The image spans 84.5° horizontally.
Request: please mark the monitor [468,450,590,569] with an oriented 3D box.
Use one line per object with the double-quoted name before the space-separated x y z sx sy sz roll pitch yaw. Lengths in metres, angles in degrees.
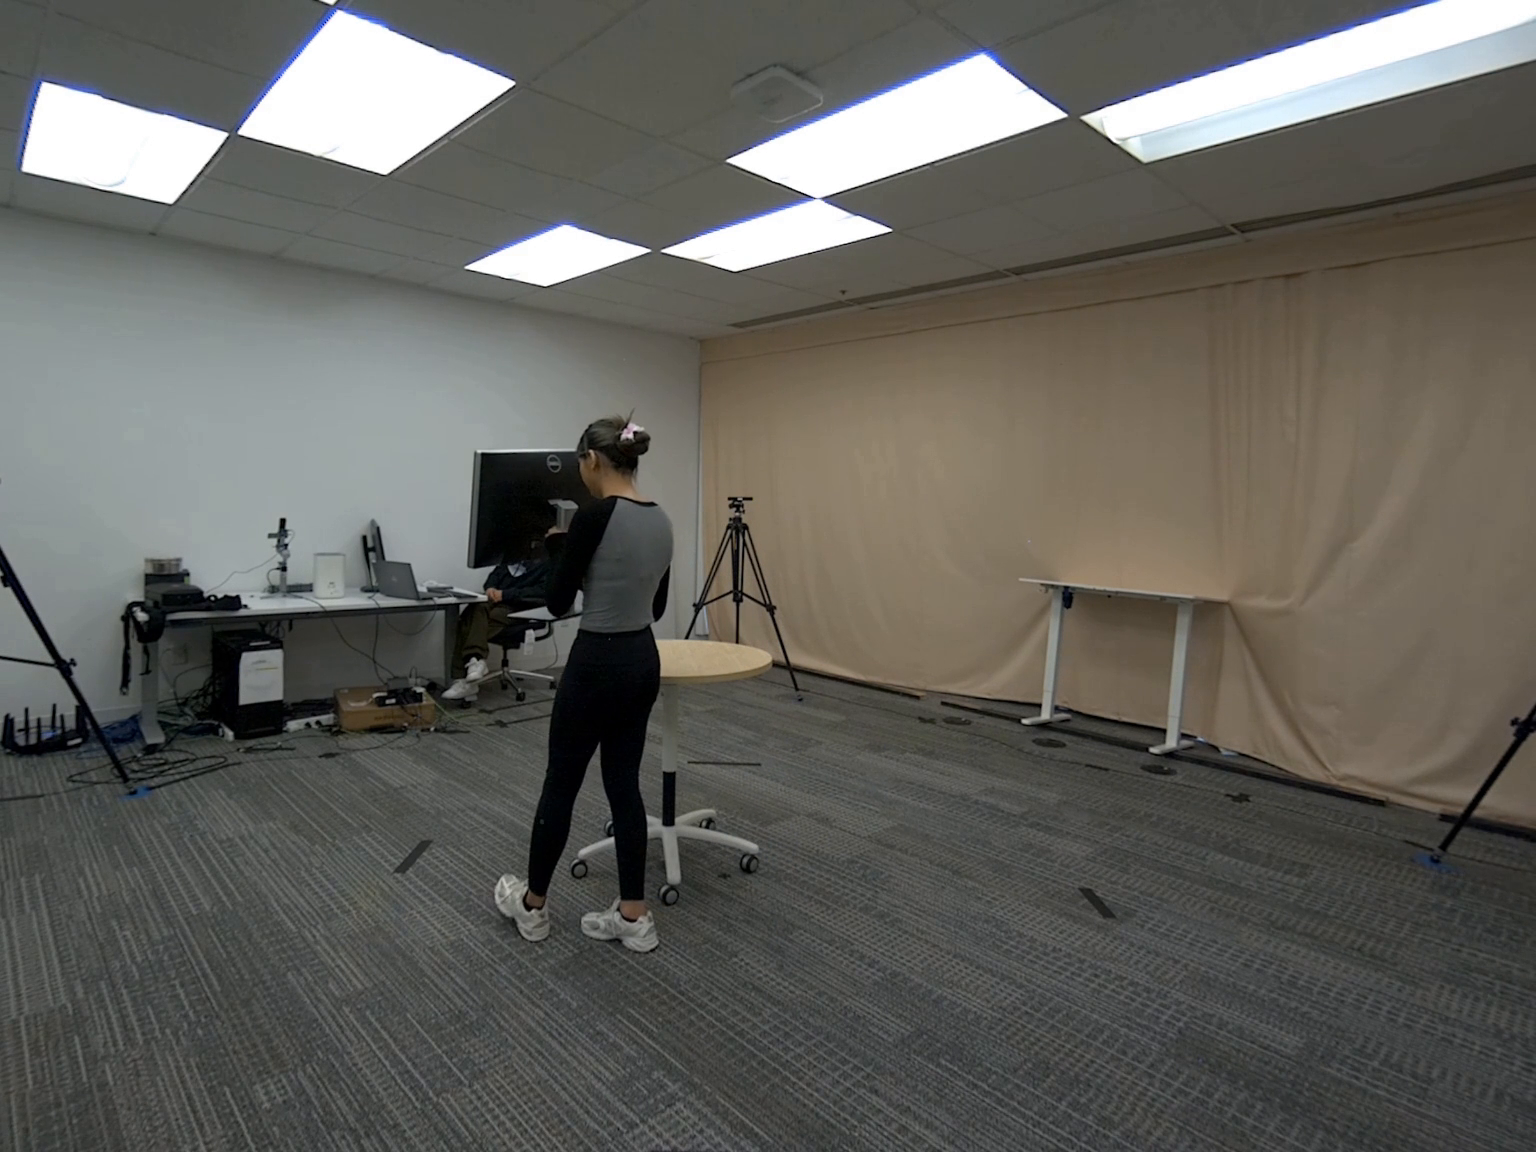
"monitor" -0.712 -0.146 2.740 0.191 0.520 0.529 2 8 33
